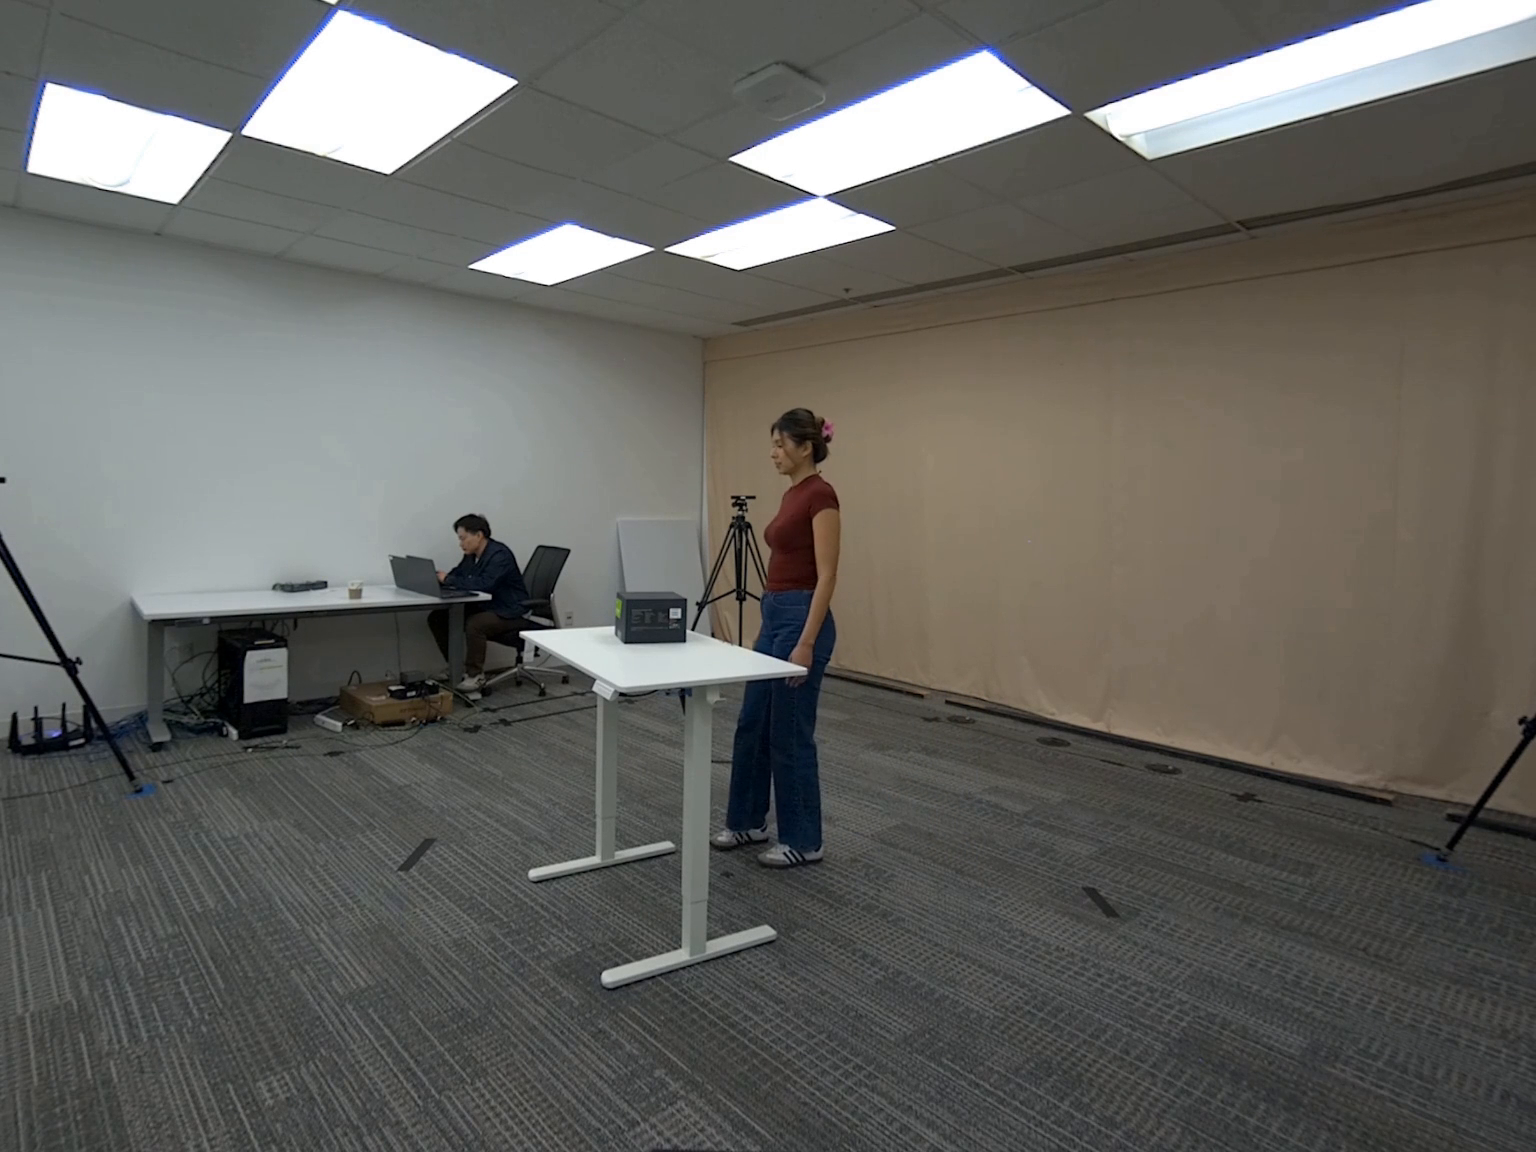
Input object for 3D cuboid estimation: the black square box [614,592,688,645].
[{"bbox_3d":[-0.427,0.144,3.008,0.214,0.155,0.231,0,4,-17],"label":"black square box"}]
